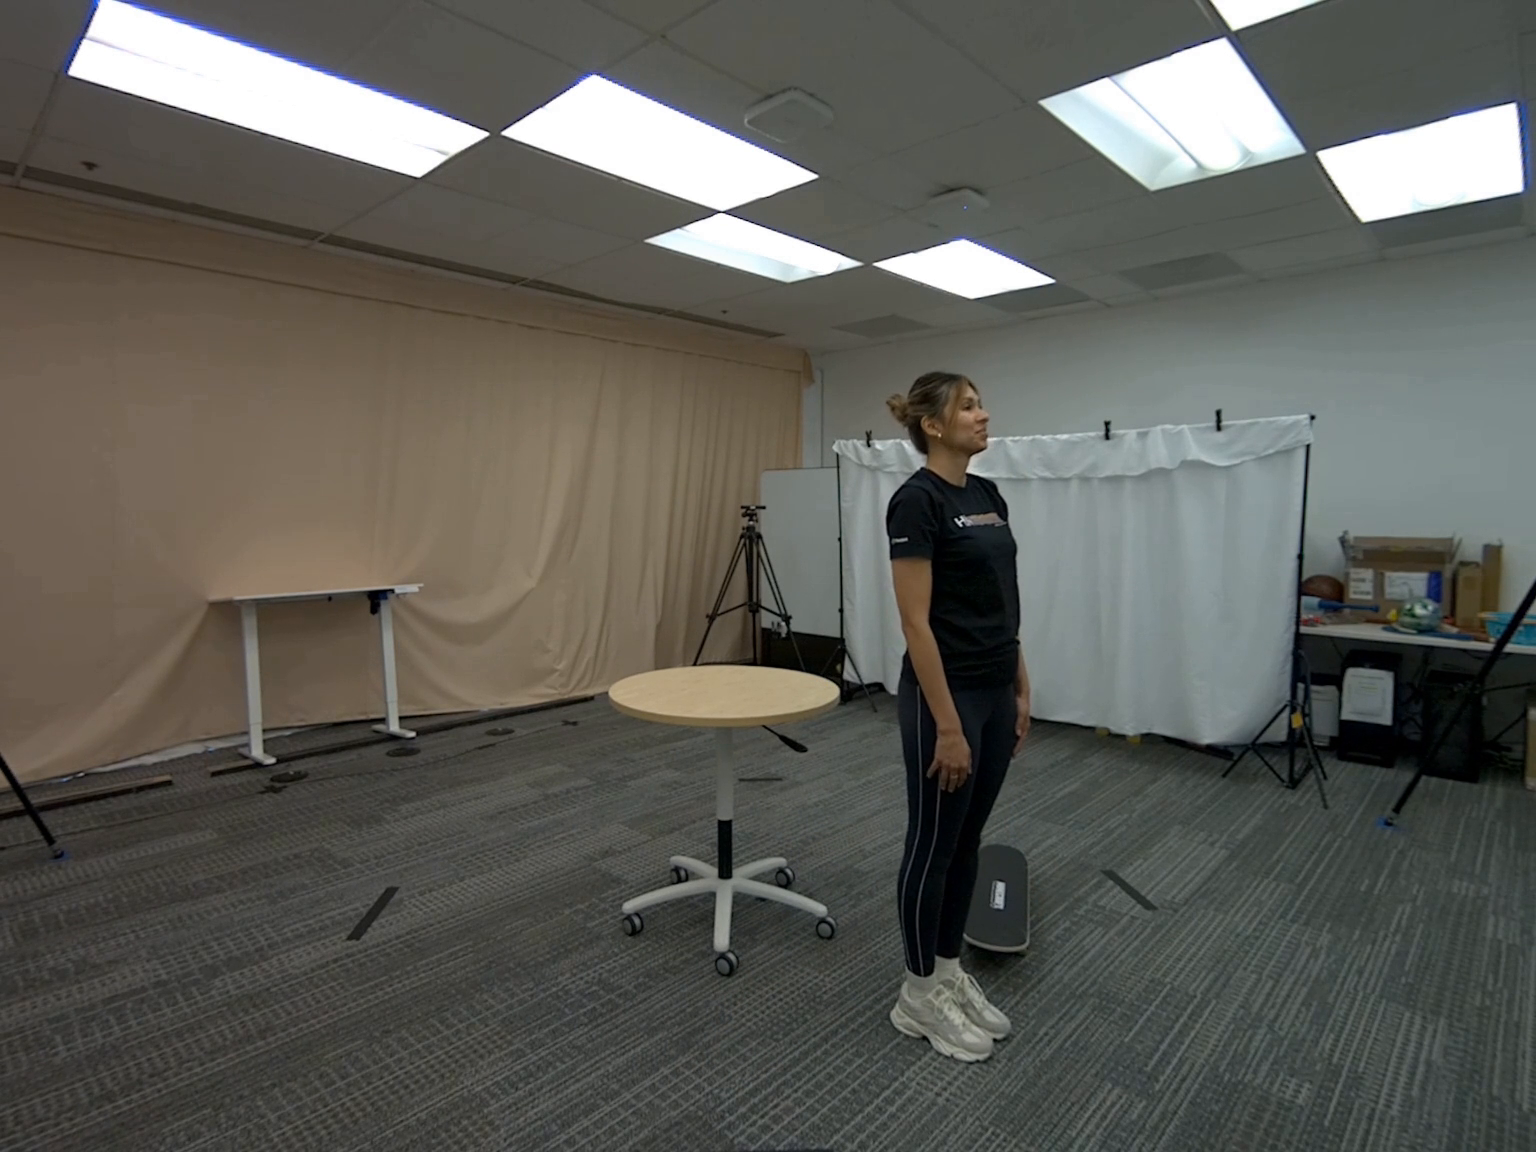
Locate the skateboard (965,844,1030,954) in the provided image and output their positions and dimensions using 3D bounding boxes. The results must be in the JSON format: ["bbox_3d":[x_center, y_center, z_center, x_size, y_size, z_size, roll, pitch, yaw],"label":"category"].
[{"bbox_3d":[0.777,1.101,2.817,0.197,0.110,0.772,1,5,17],"label":"skateboard"}]
